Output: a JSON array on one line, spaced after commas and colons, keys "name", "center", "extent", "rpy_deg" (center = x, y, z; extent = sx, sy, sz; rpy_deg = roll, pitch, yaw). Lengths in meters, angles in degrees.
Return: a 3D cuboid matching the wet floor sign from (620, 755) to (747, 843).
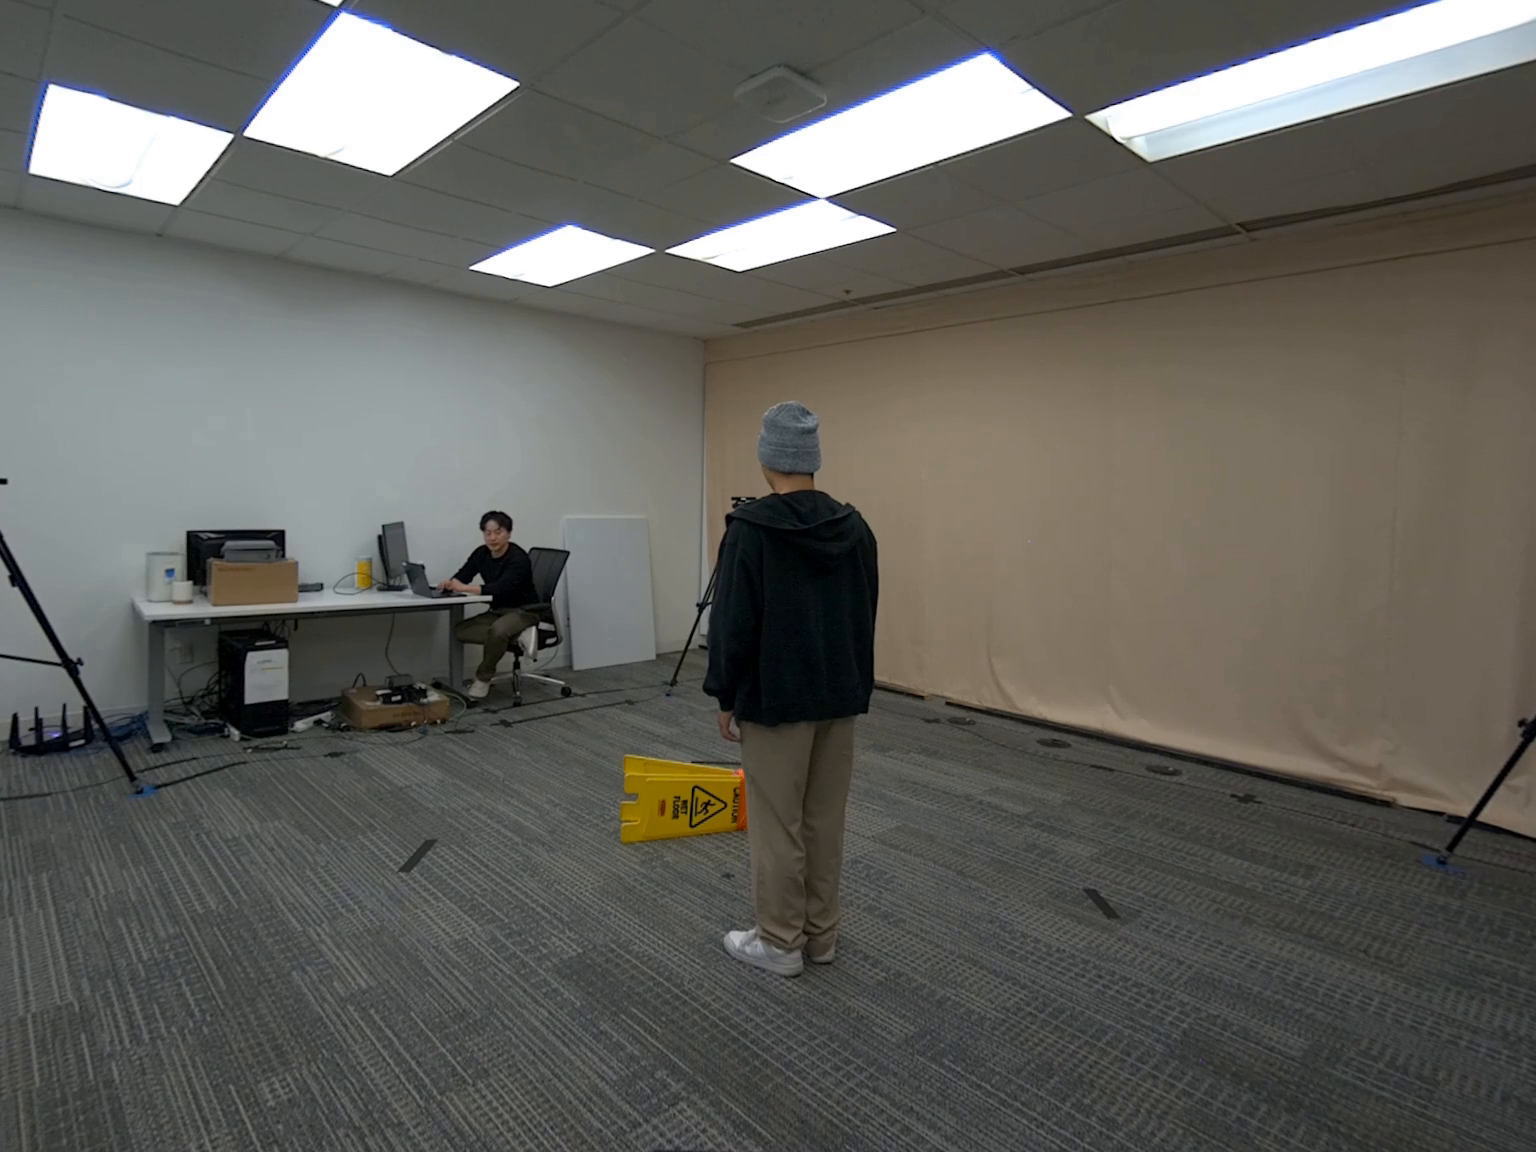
[{"name": "wet floor sign", "center": [-0.297, 0.937, 3.551], "extent": [0.641, 0.281, 0.292], "rpy_deg": [4, 4, -9]}]
